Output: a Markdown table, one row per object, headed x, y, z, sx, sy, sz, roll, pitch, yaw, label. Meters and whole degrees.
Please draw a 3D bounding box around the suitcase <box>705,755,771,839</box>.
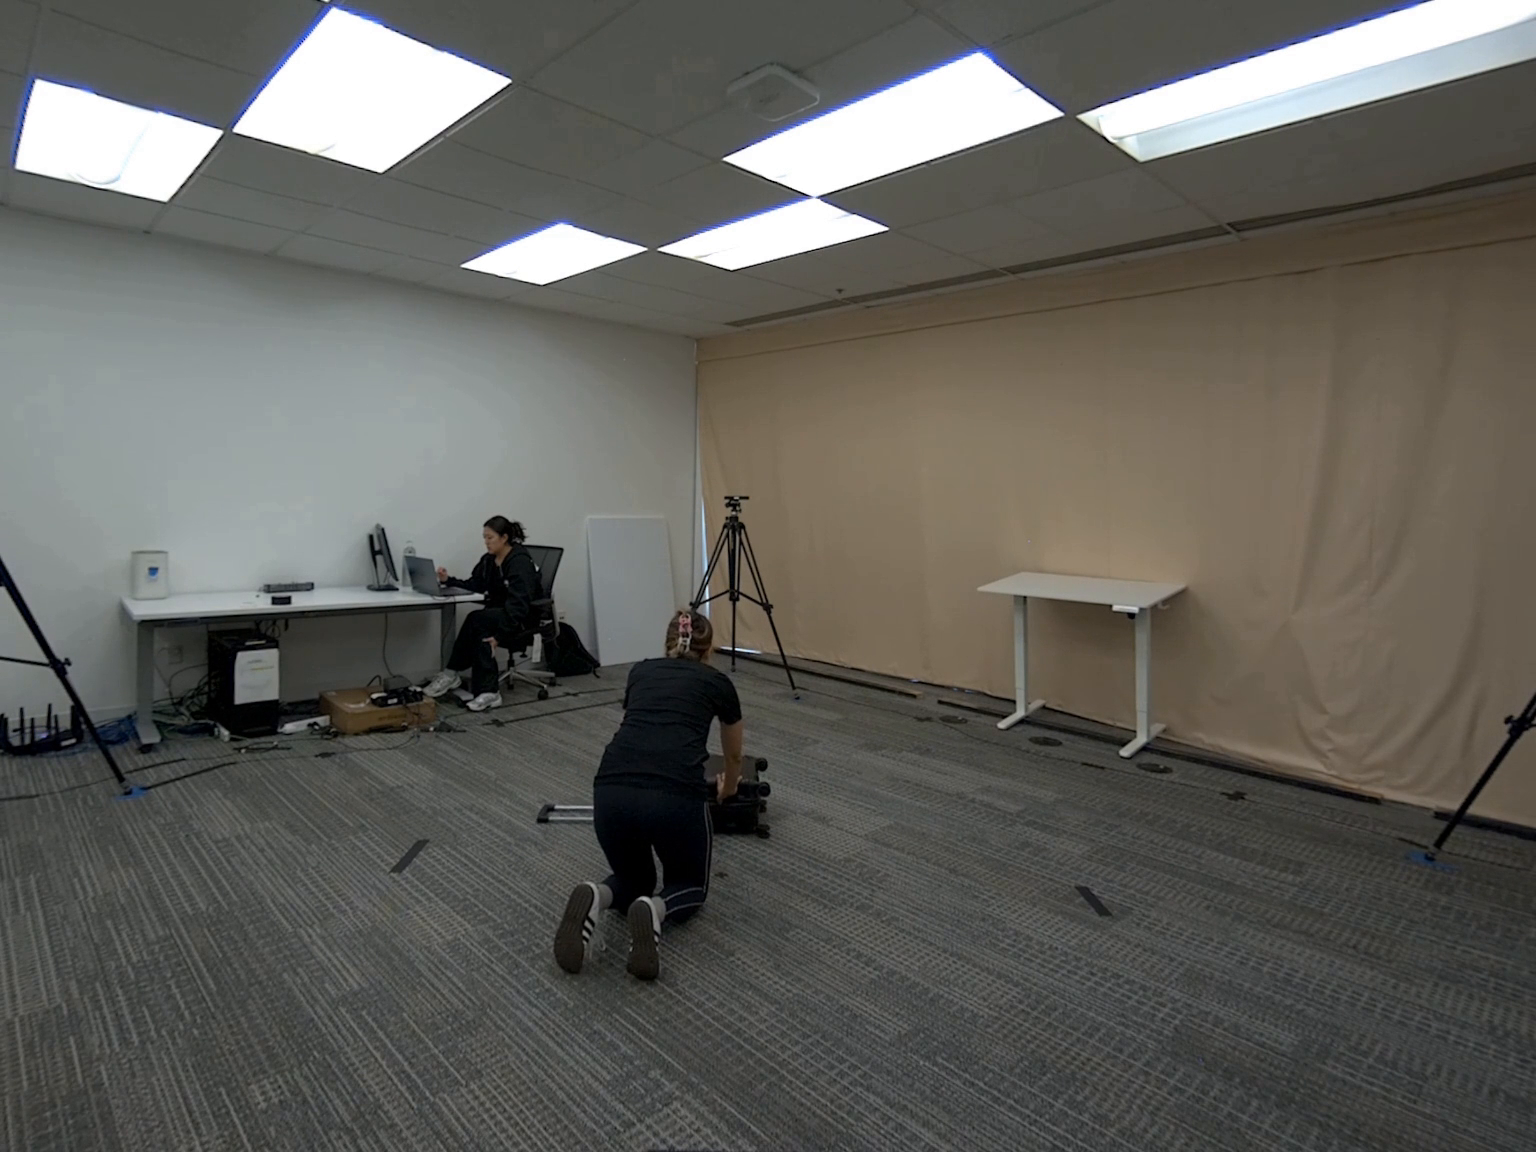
| x | y | z | sx | sy | sz | roll | pitch | yaw | label |
| --- | --- | --- | --- | --- | --- | --- | --- | --- | --- |
| -0.485 | 0.928 | 3.632 | 0.978 | 0.256 | 0.385 | 3 | 6 | 0 | suitcase |
